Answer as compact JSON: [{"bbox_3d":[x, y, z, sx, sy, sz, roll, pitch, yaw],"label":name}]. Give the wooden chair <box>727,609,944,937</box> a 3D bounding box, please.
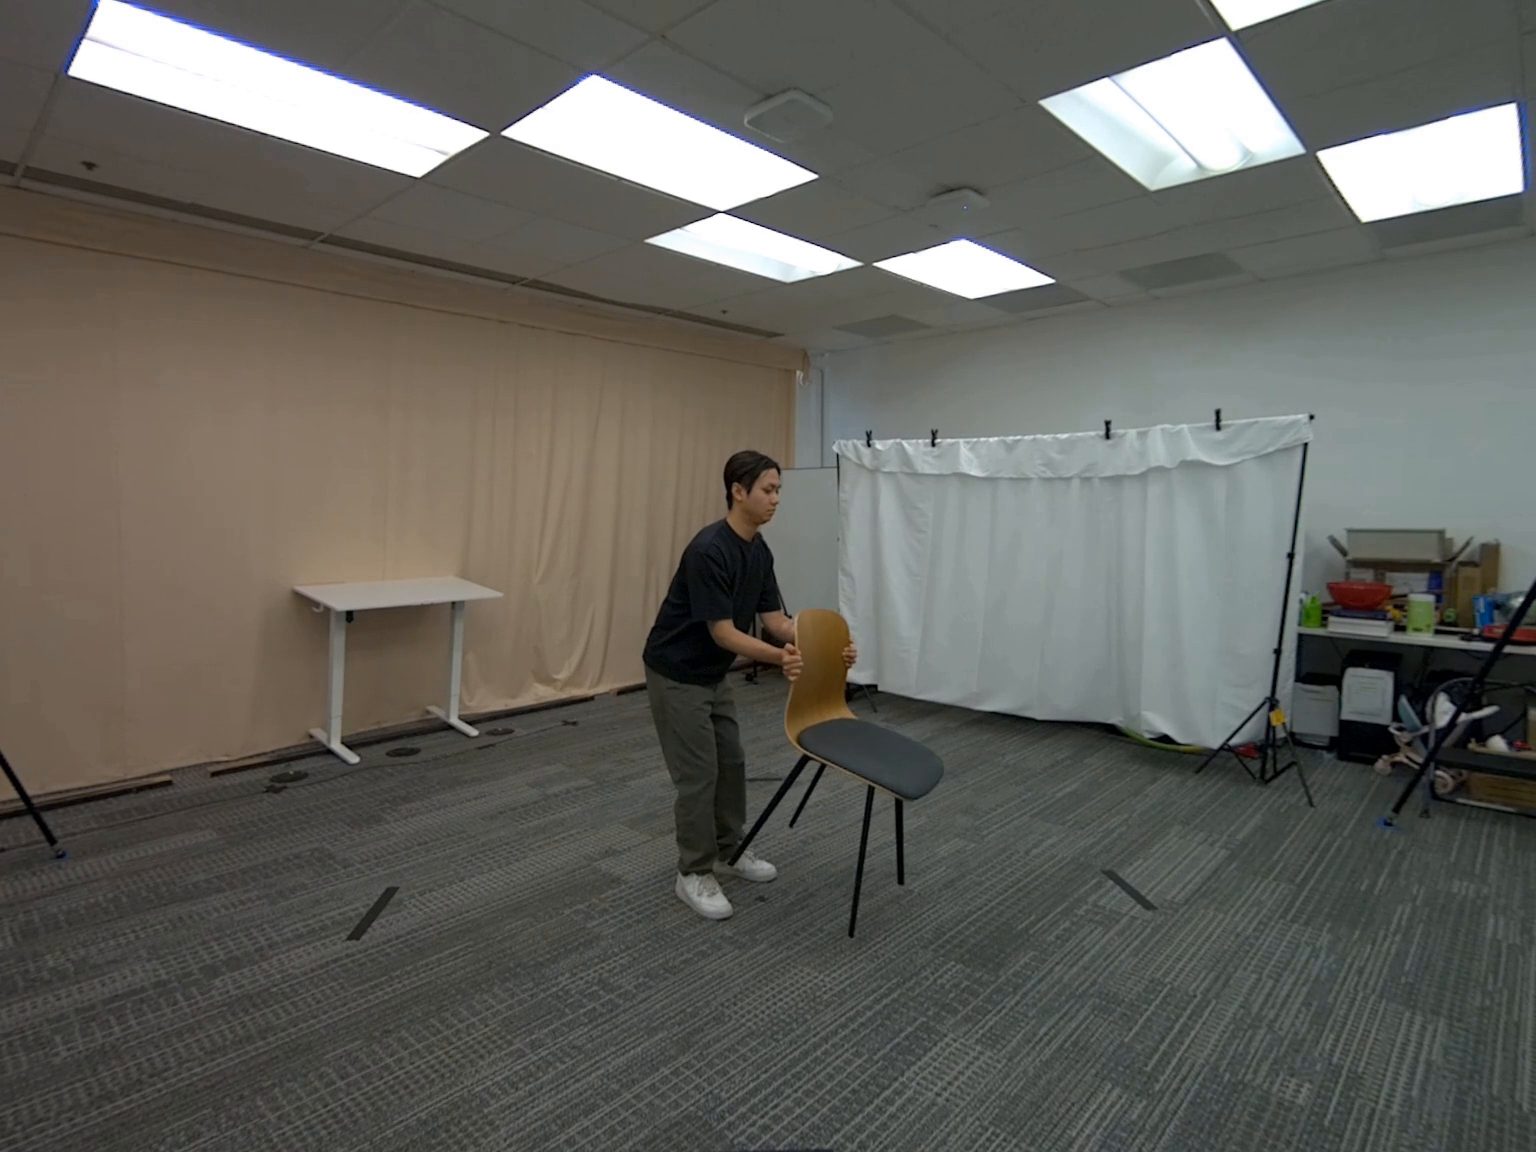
[{"bbox_3d":[0.287,0.601,2.727,0.539,0.874,0.465,15,8,29],"label":"wooden chair"}]
